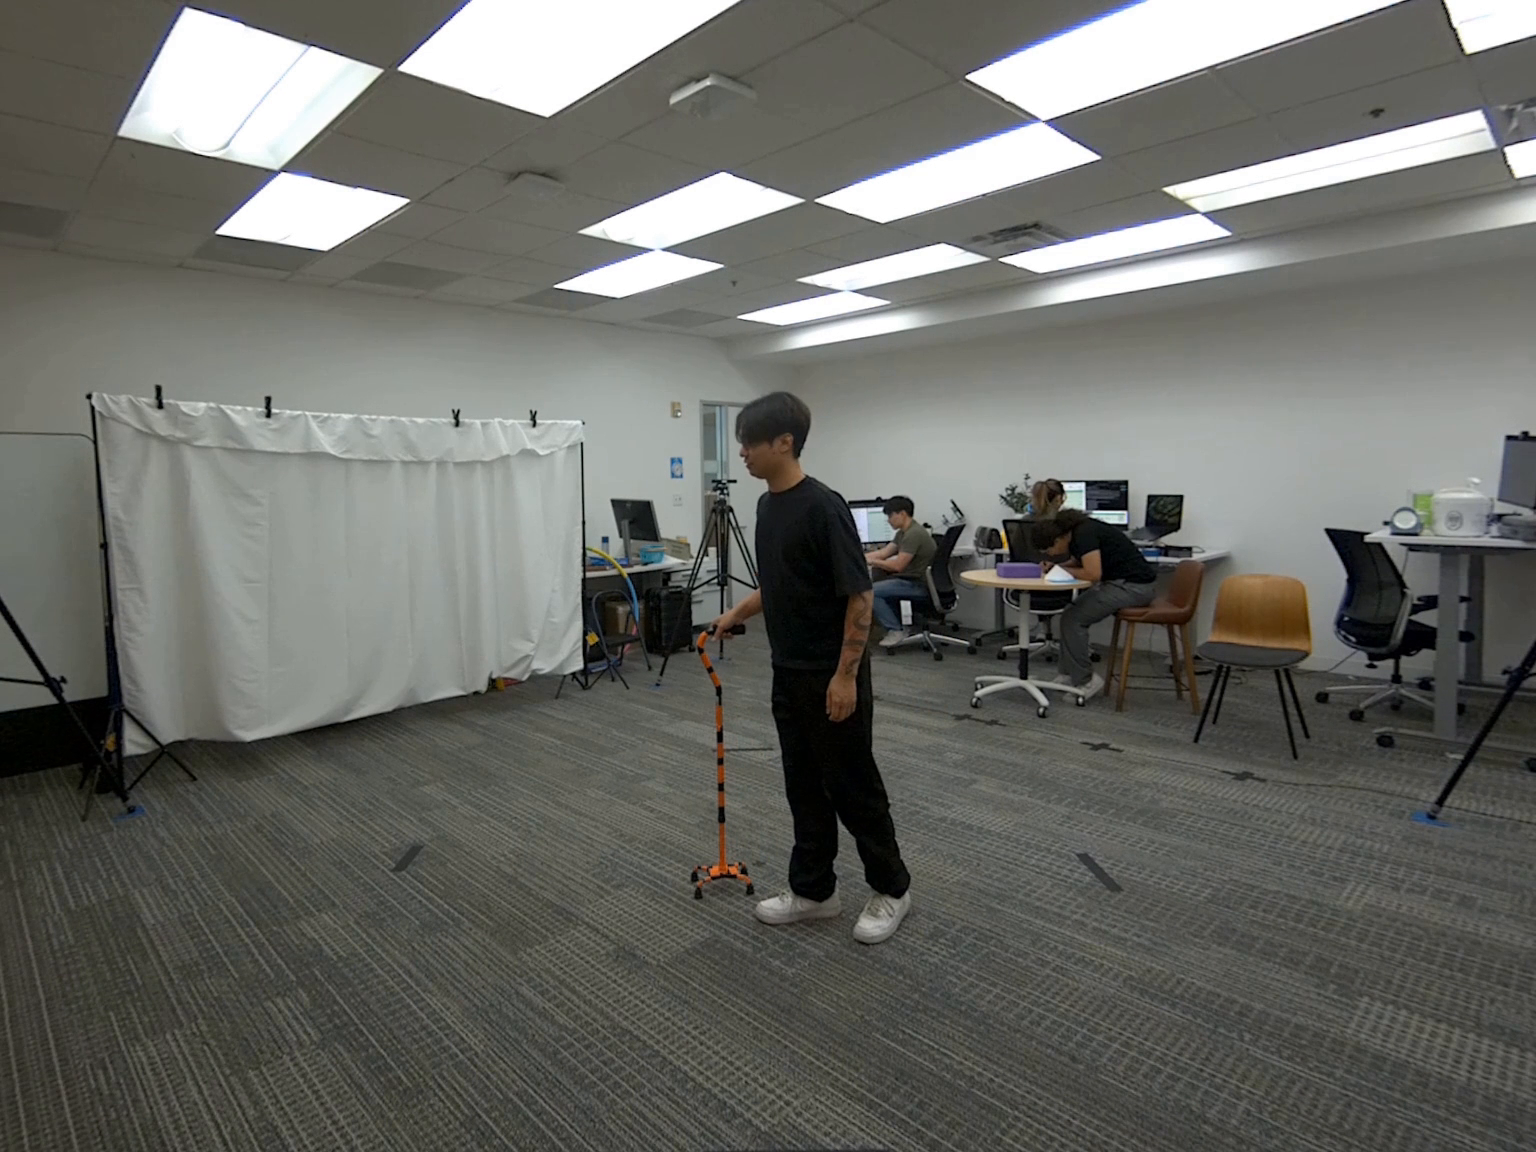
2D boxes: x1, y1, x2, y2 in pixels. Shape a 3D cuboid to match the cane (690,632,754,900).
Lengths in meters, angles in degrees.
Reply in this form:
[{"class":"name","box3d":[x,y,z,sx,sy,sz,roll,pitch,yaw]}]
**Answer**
[{"class":"cane","box3d":[-0.166,0.625,2.907,0.204,0.904,0.154,-2,5,-11]}]
